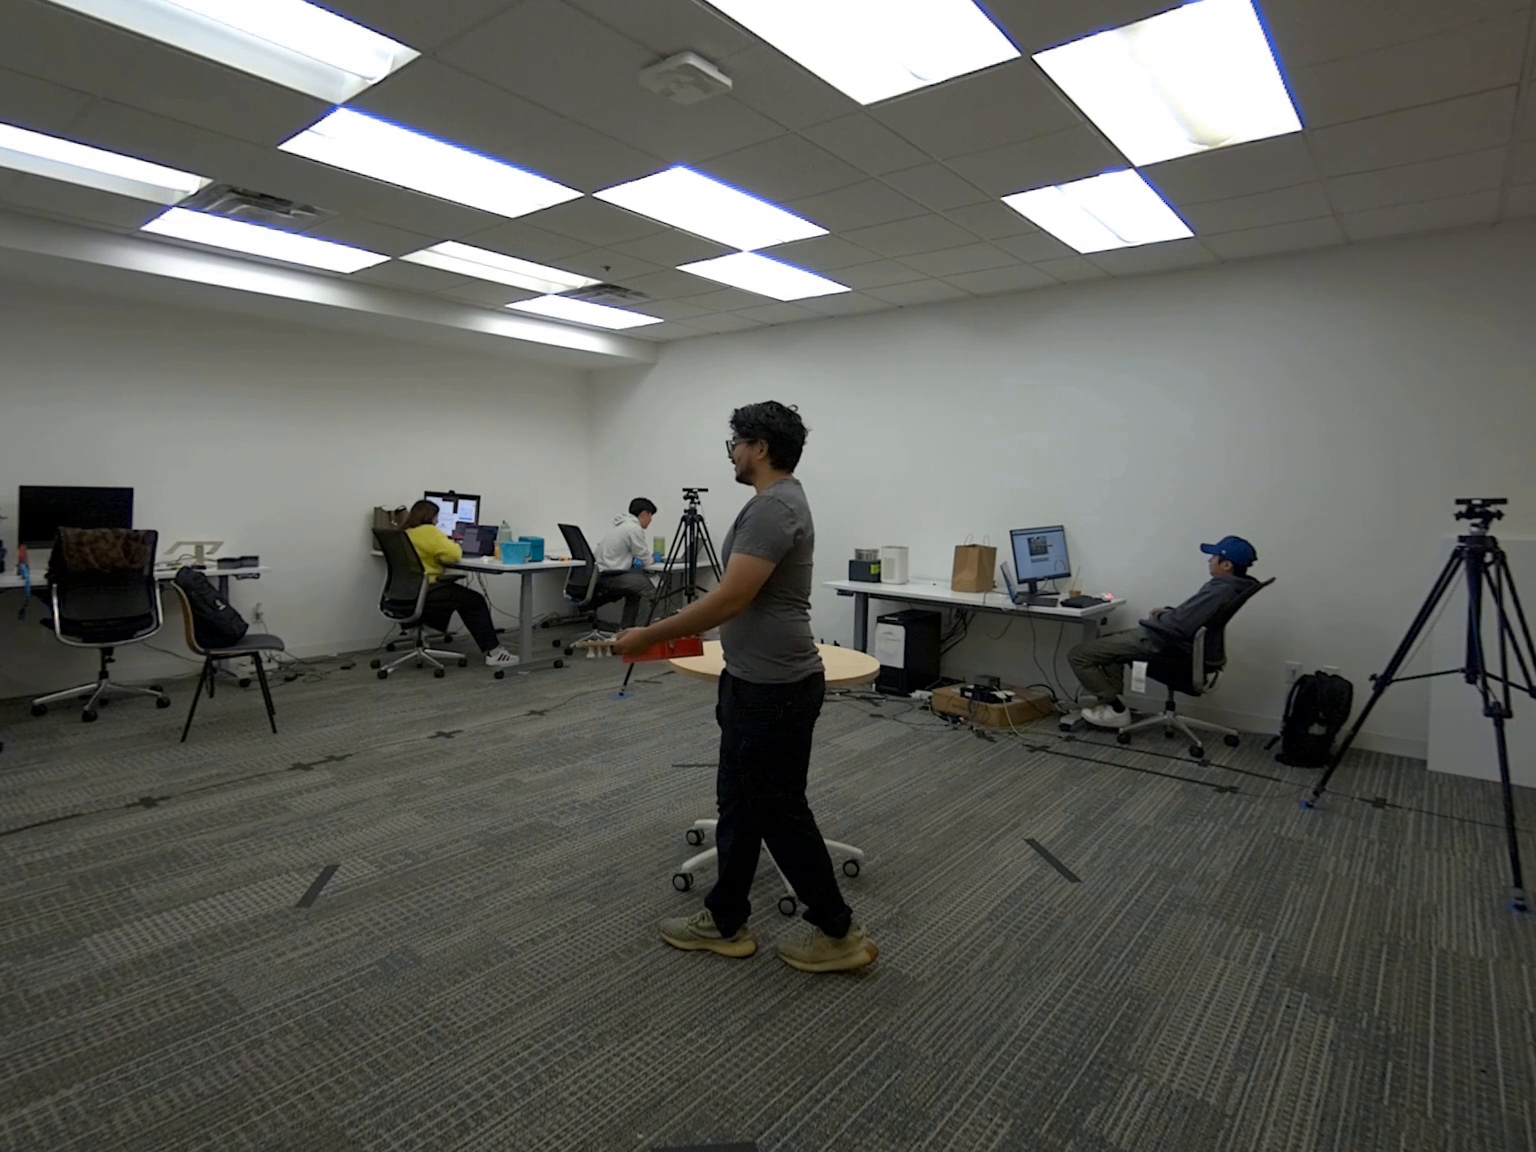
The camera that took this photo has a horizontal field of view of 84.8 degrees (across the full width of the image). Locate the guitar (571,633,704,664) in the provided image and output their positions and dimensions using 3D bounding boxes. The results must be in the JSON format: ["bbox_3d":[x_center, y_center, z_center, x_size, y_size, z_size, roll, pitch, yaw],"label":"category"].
[{"bbox_3d":[-0.421,0.225,2.515,0.198,0.071,0.481,-9,-7,42],"label":"guitar"}]
